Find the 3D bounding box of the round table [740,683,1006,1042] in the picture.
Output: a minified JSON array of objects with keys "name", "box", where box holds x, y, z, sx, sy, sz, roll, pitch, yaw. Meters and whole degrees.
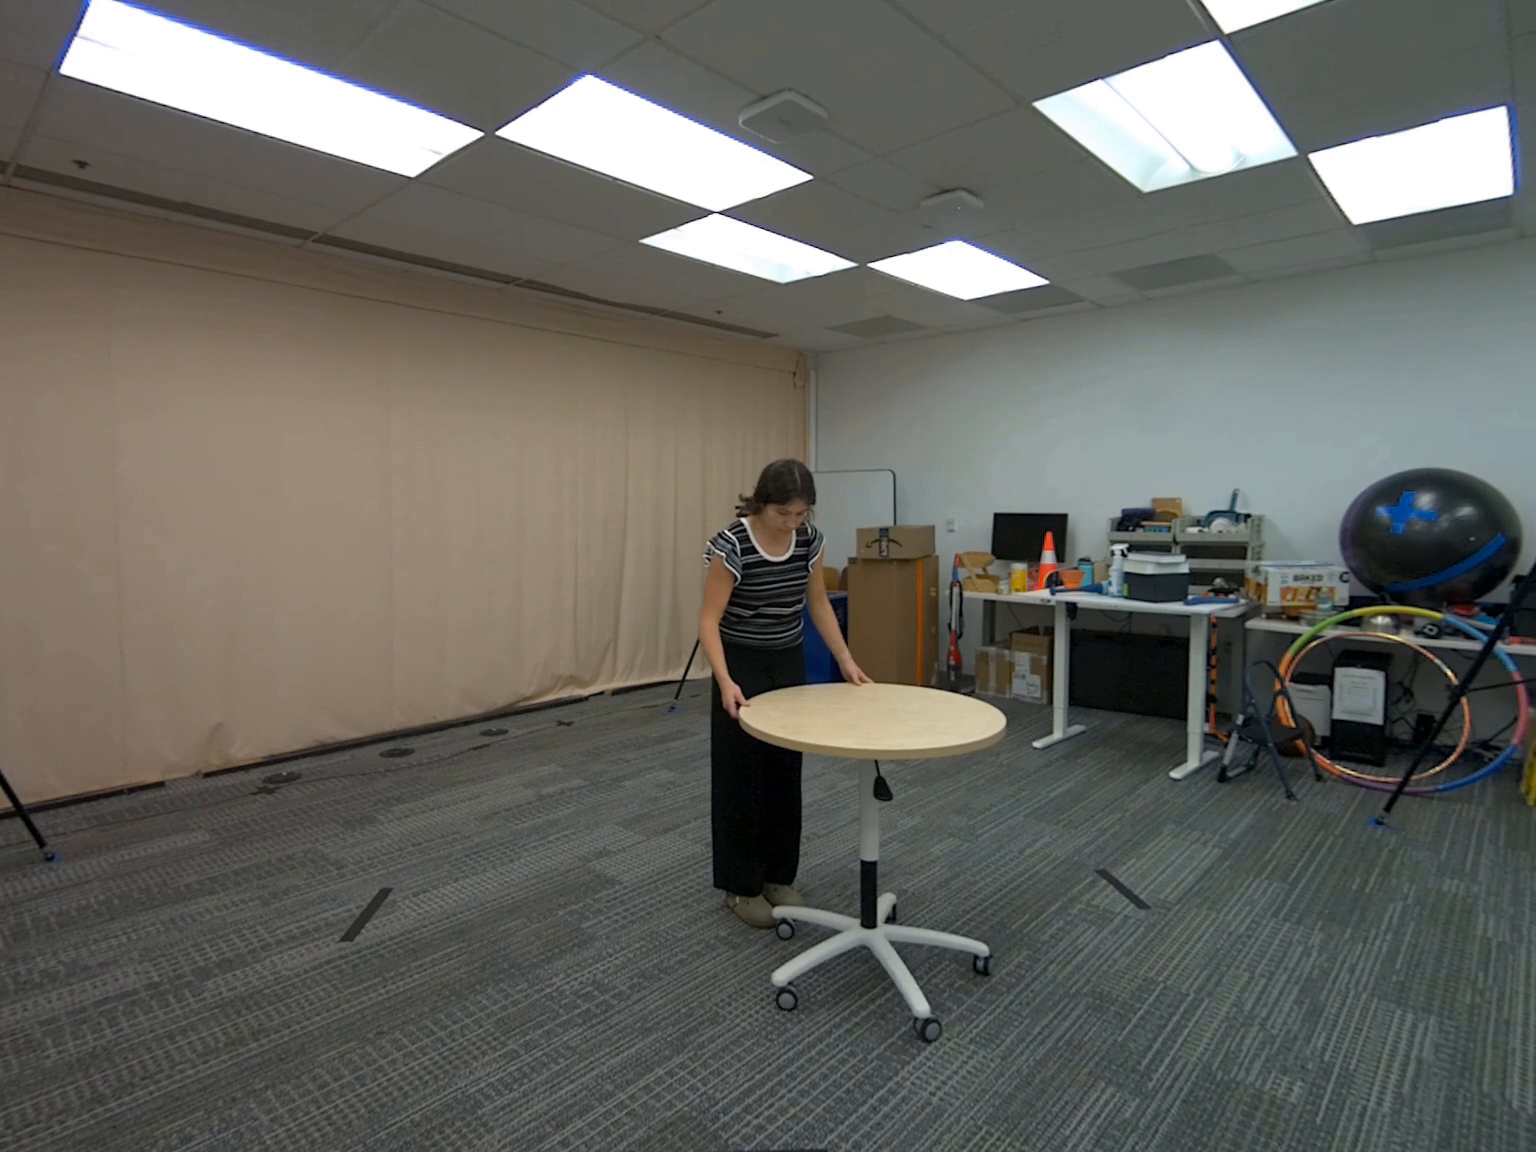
[{"name":"round table","box":[0.302,0.786,2.513,0.784,0.784,0.788,0,4,-2]}]
